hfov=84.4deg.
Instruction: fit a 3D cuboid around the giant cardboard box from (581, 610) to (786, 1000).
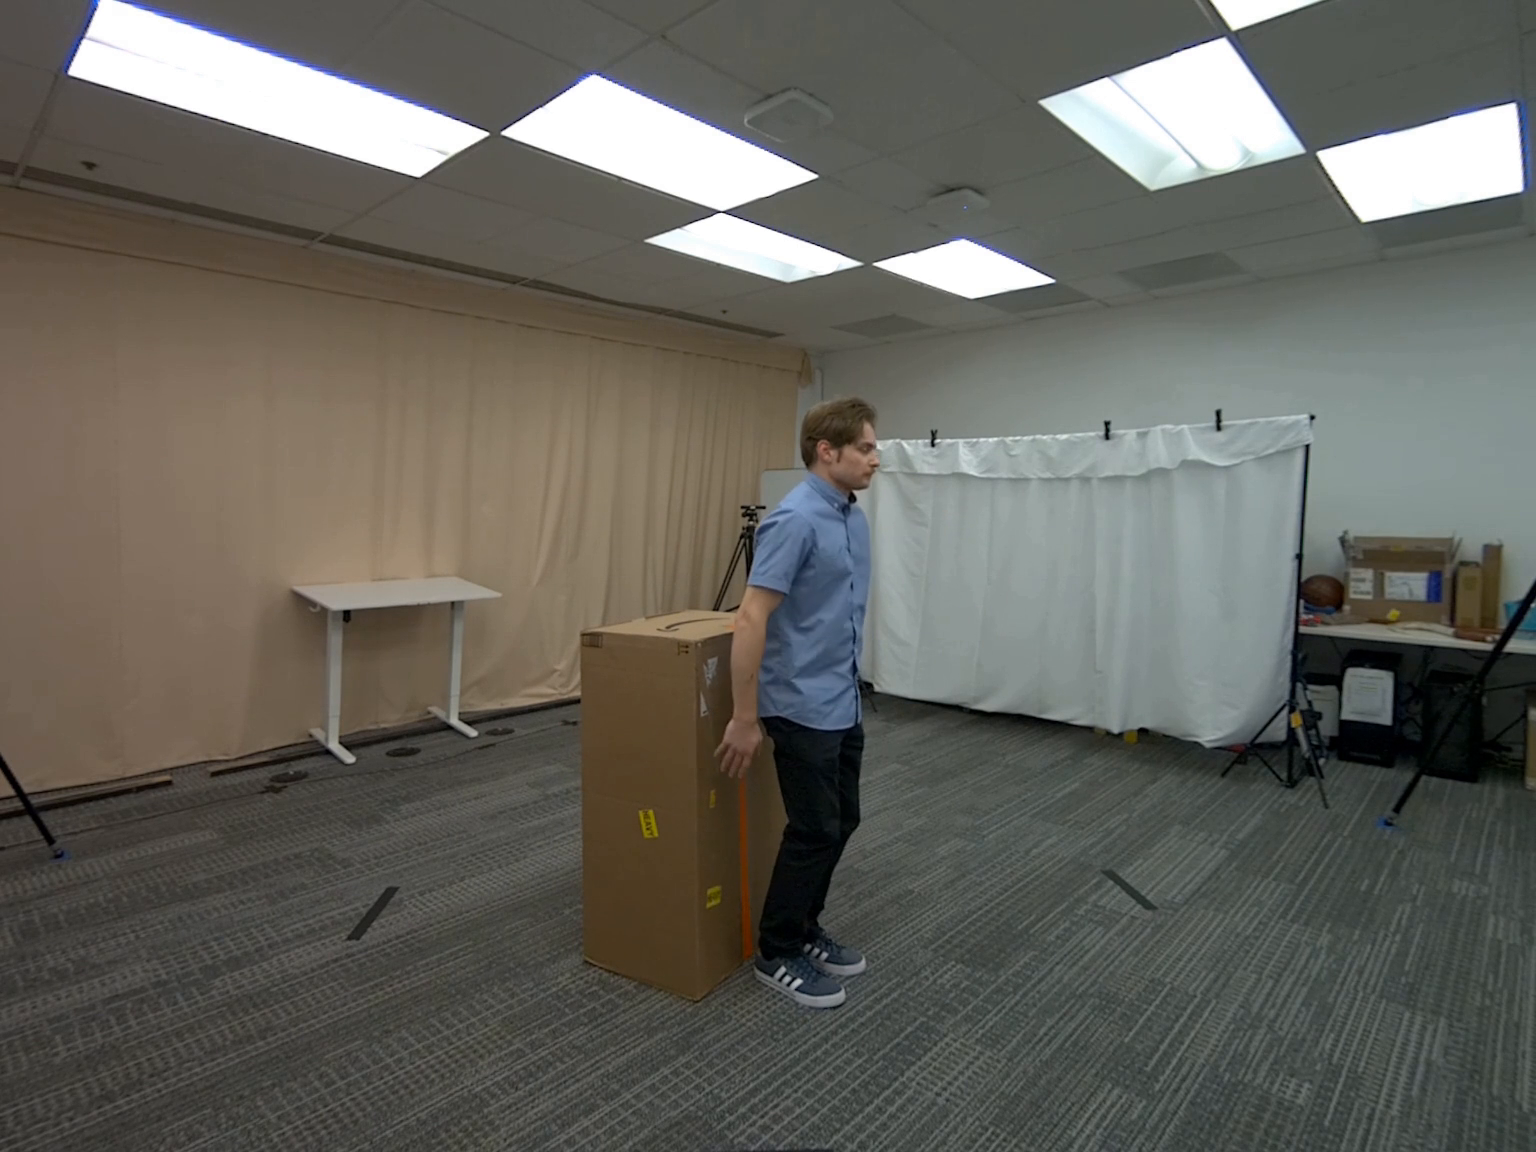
[{"bbox_3d":[-0.247,0.664,2.685,0.459,1.025,0.569,1,3,29],"label":"giant cardboard box"}]
